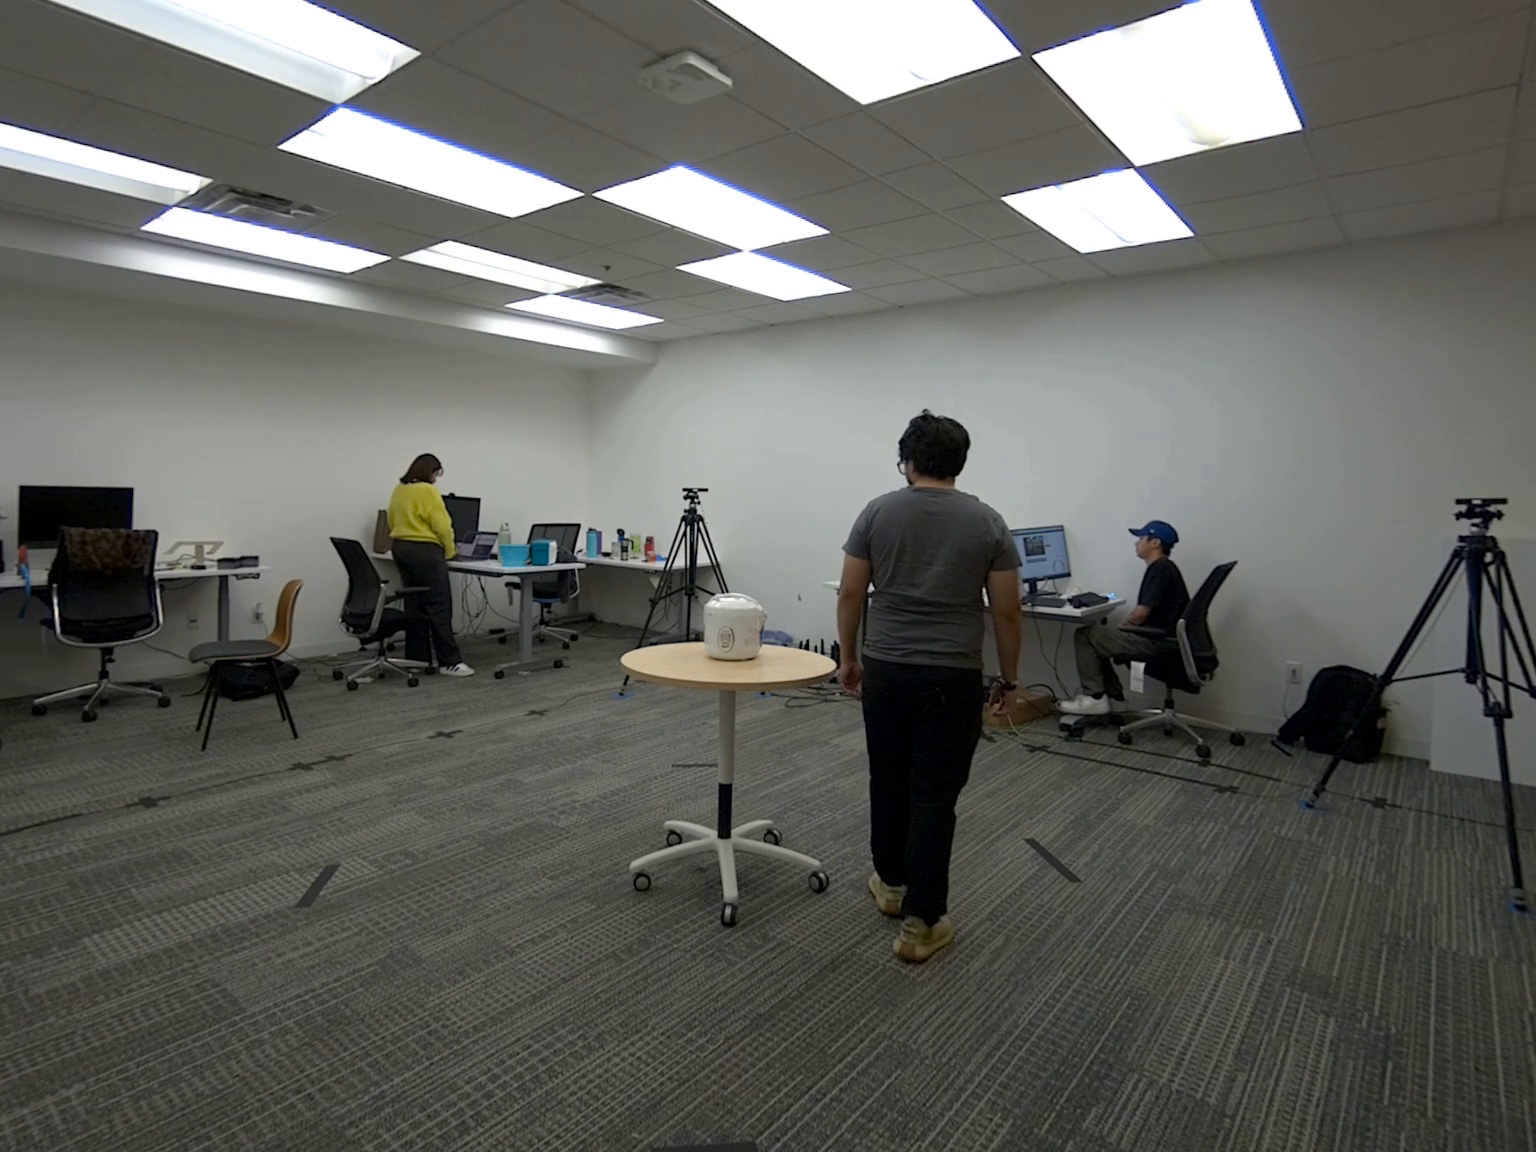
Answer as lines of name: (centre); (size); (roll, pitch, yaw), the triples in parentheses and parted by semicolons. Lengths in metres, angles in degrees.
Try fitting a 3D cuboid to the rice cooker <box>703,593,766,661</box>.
rice cooker: (-0.137, 0.175, 3.094); (0.224, 0.232, 0.215); (2, 3, 12)
